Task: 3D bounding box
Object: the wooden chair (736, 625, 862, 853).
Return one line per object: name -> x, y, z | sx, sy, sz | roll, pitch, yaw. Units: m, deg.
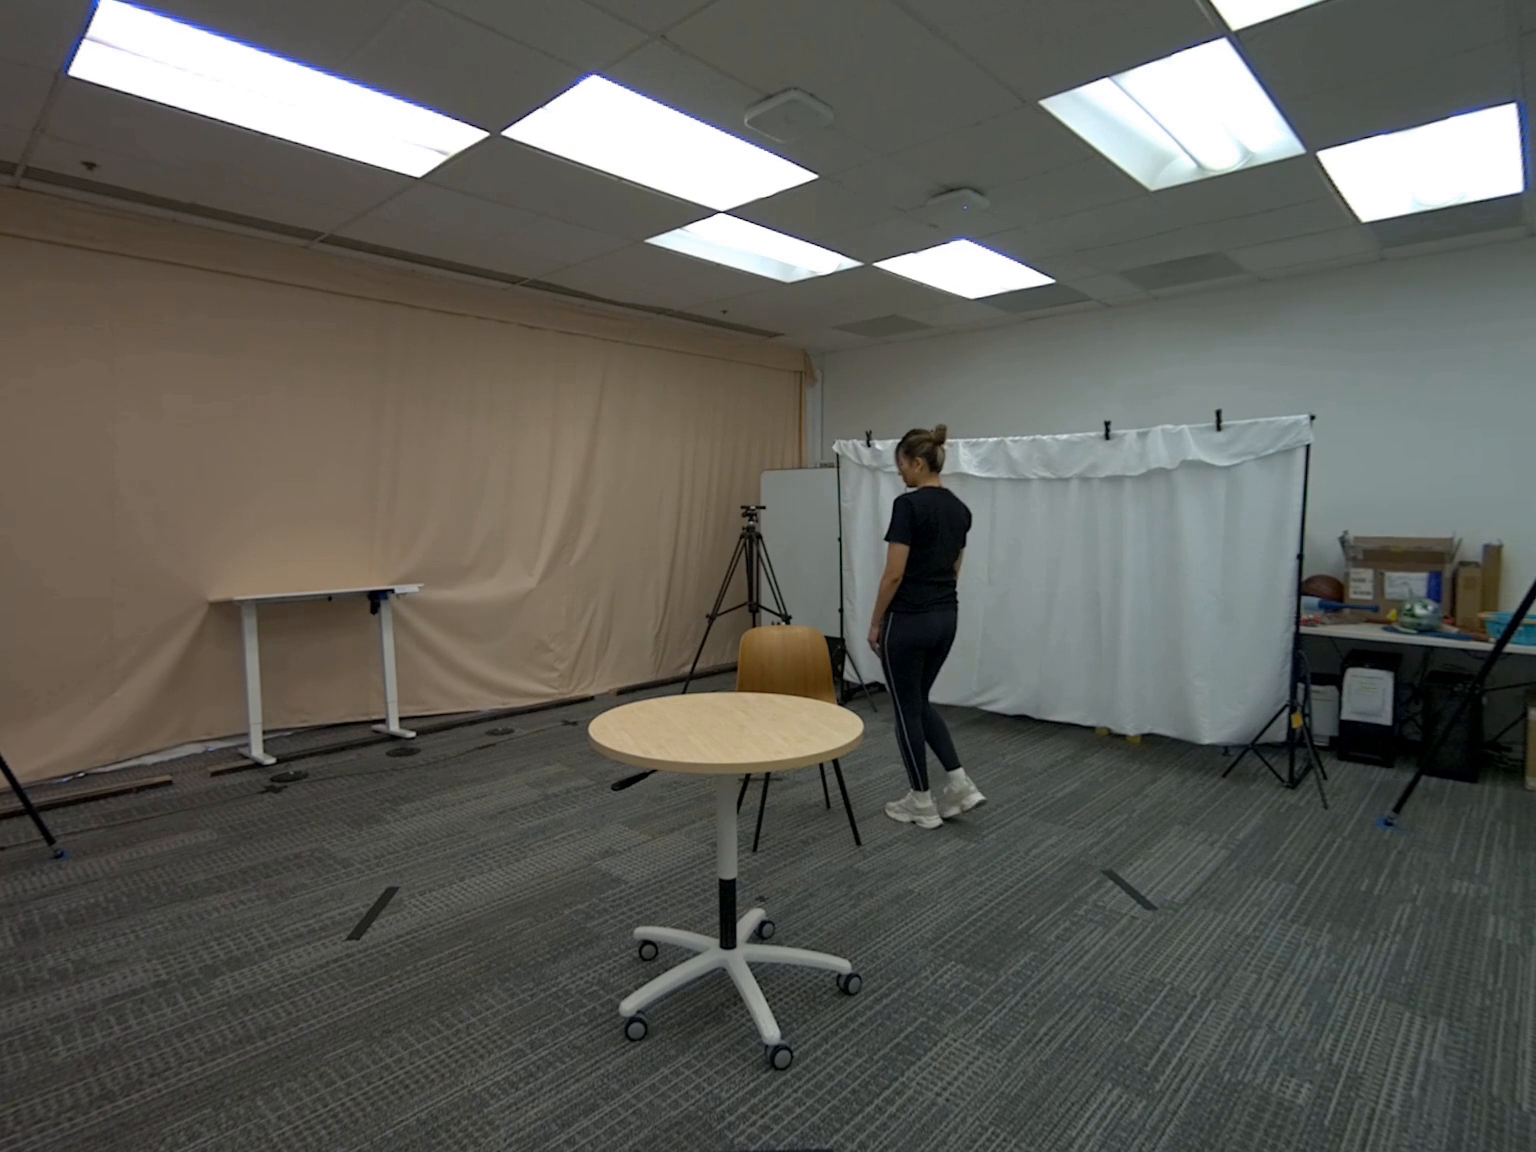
wooden chair -> 0.120, 0.665, 3.595 | 0.473, 0.878, 0.528 | 0, -1, -10
